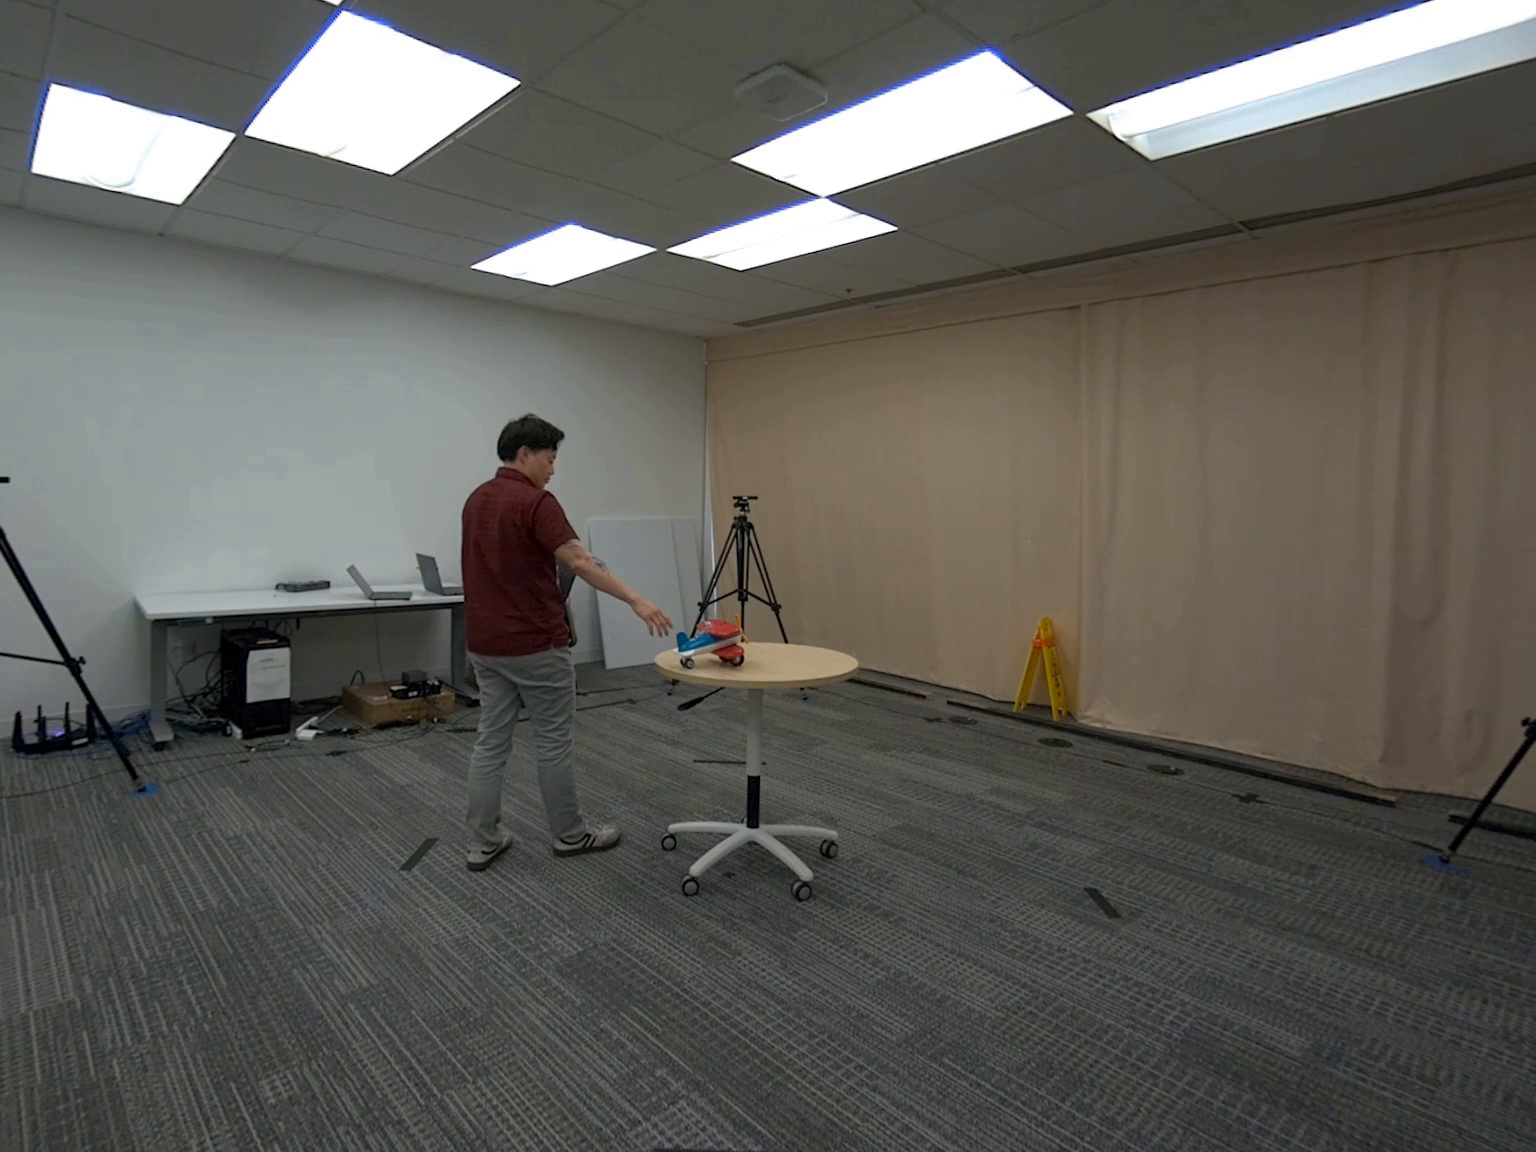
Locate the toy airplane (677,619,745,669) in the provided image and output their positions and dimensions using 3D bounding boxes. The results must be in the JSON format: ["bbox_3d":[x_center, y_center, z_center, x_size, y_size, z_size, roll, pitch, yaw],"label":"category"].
[{"bbox_3d":[-0.208,0.249,3.020,0.257,0.156,0.254,2,3,35],"label":"toy airplane"}]
